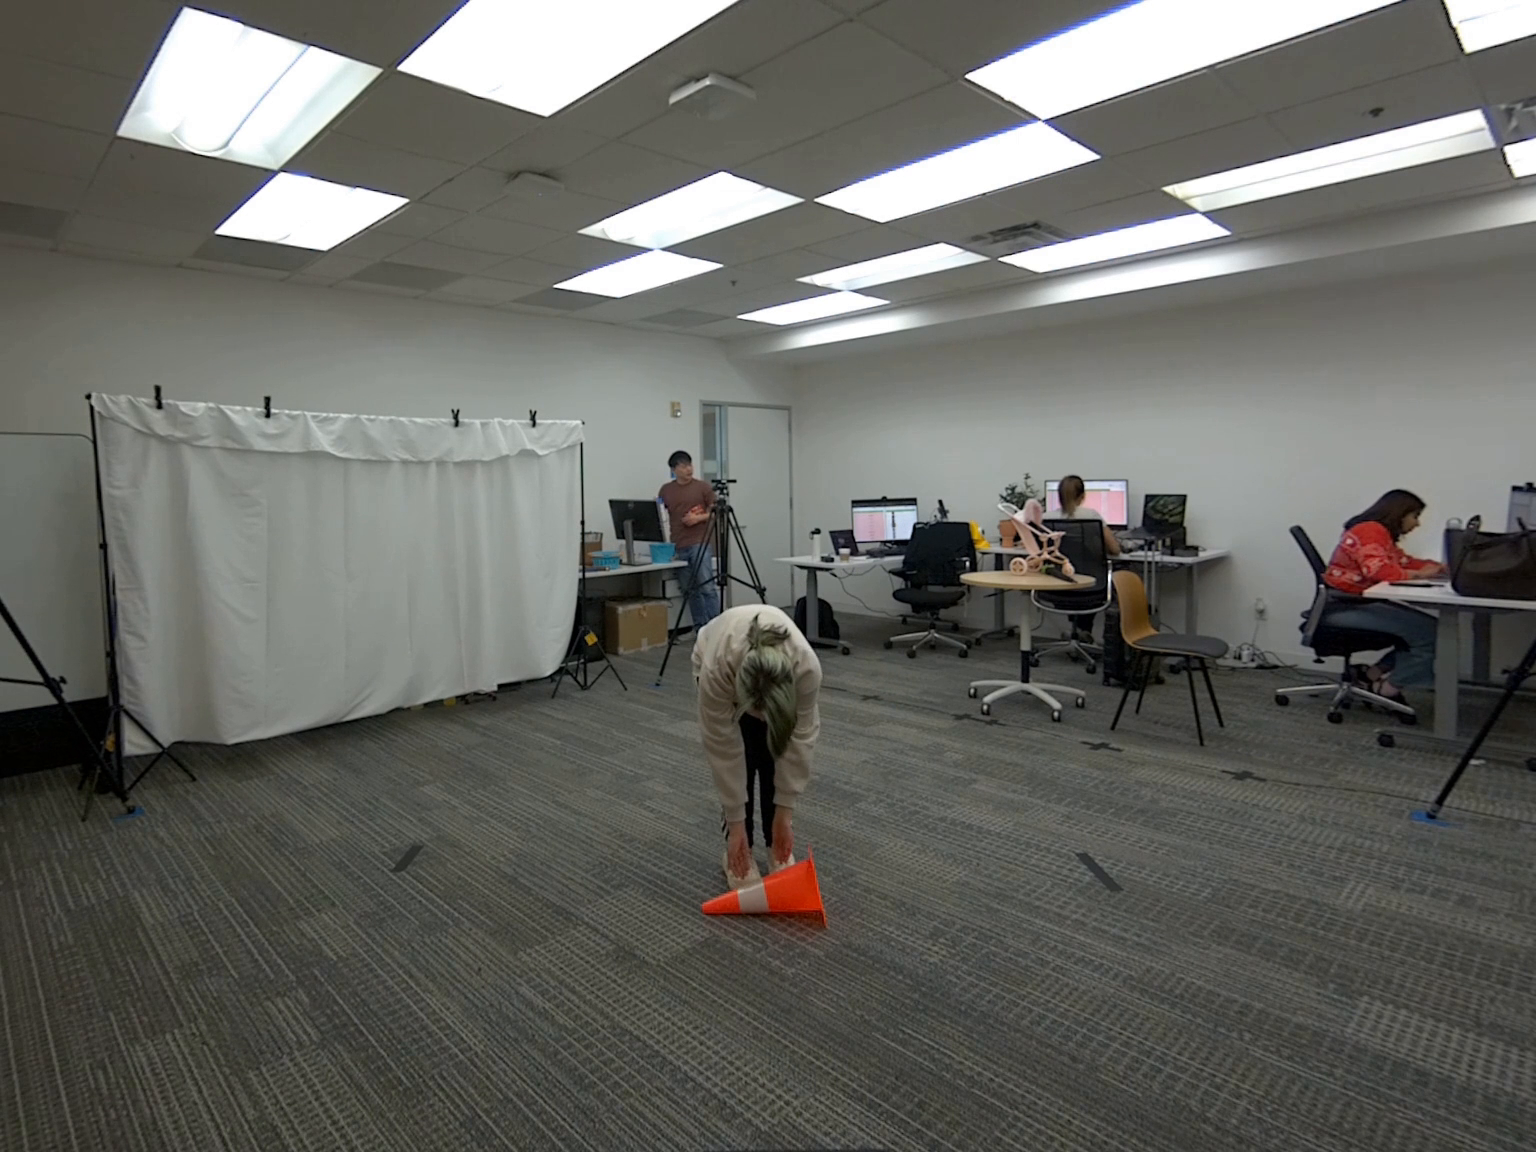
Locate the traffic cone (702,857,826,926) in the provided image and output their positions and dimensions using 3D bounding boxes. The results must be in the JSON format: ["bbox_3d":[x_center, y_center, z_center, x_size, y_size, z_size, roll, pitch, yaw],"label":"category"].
[{"bbox_3d":[-0.022,1.036,2.746,0.383,0.203,0.206,-14,3,-2],"label":"traffic cone"}]
